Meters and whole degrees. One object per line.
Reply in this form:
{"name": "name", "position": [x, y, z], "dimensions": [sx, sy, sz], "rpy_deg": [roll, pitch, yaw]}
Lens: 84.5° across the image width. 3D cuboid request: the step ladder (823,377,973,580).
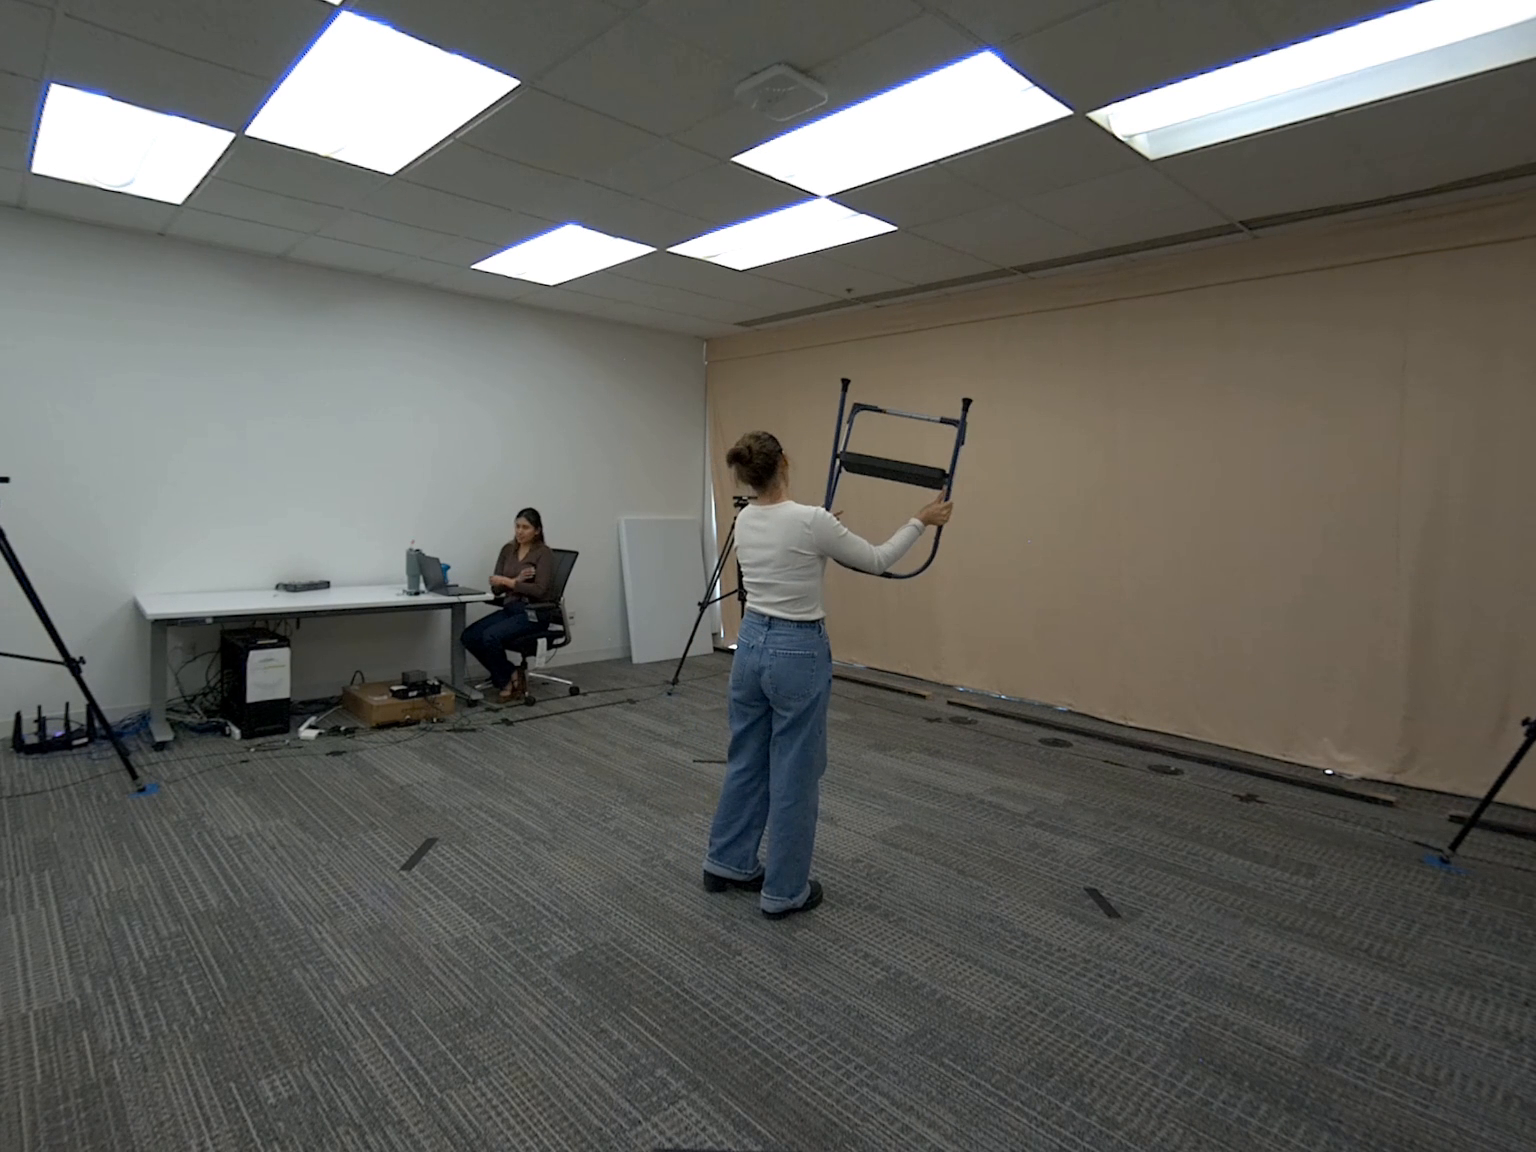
{"name": "step ladder", "position": [0.399, -0.302, 2.877], "dimensions": [0.437, 0.606, 0.344], "rpy_deg": [13, 0, 15]}
